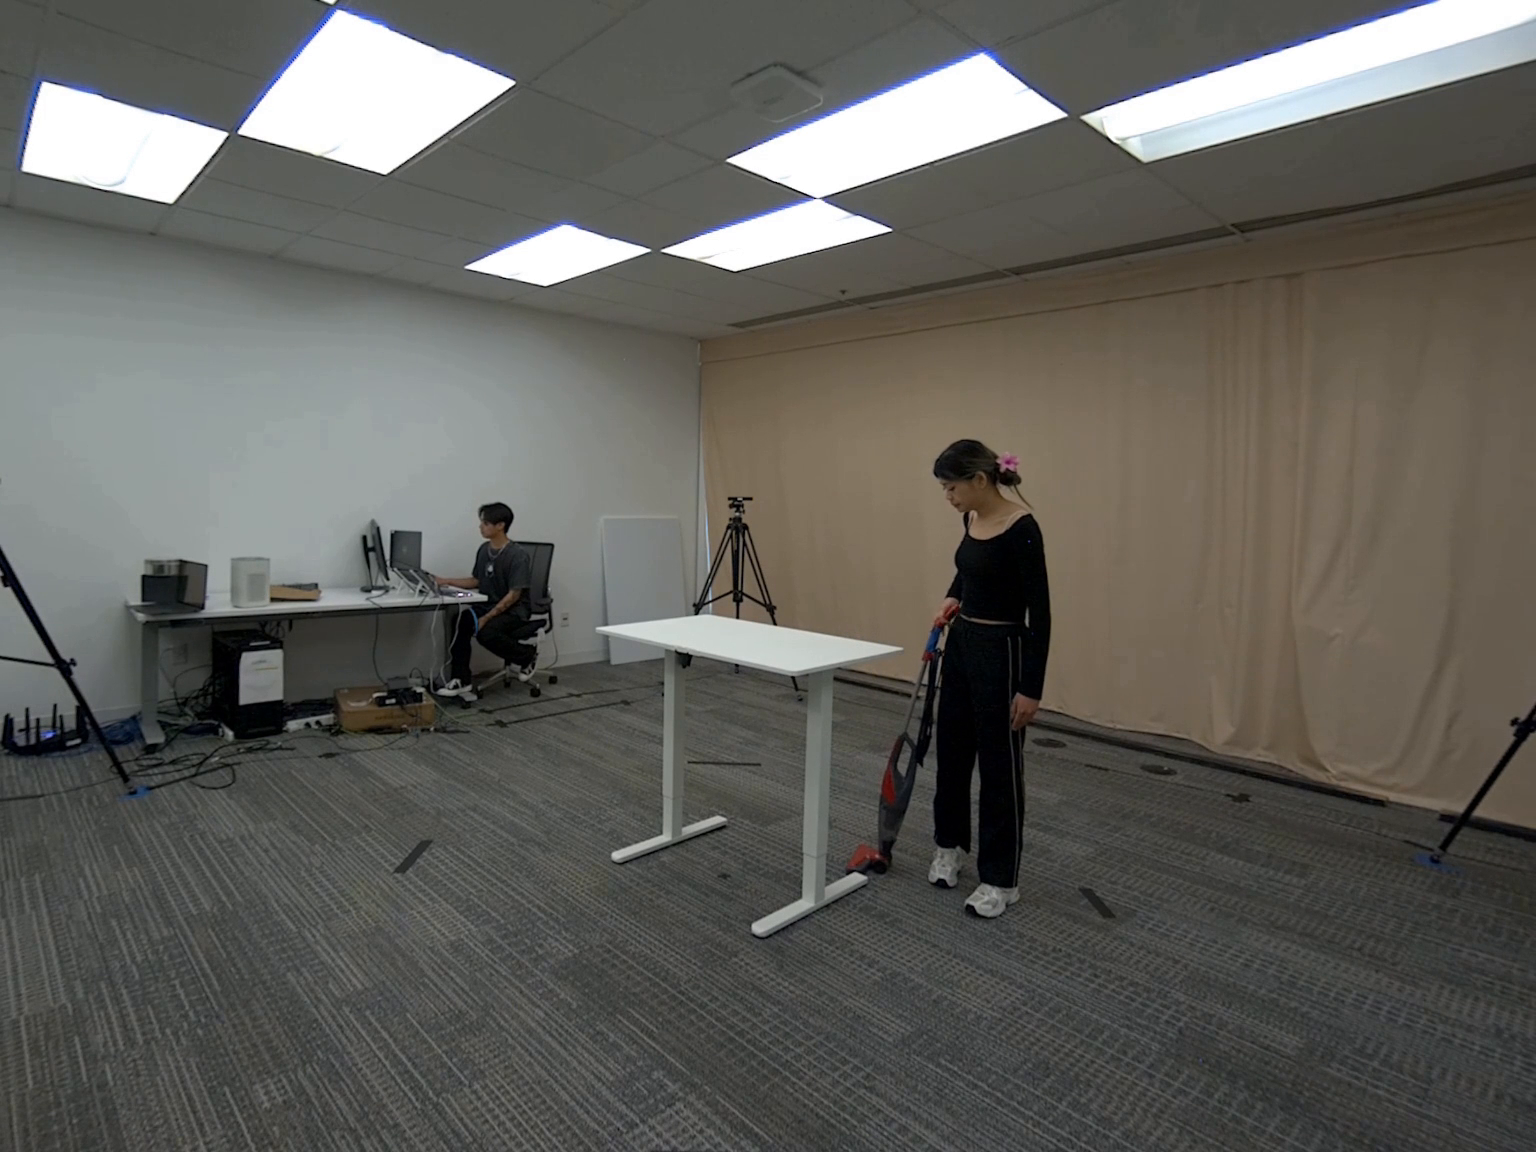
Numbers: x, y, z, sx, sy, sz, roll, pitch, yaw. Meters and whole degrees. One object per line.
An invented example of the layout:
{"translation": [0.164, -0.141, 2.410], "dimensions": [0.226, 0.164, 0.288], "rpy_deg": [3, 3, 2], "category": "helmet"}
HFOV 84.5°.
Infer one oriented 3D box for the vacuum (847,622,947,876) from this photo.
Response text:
{"translation": [0.554, 0.613, 3.162], "dimensions": [0.147, 1.046, 0.248], "rpy_deg": [22, 7, 19], "category": "vacuum"}
